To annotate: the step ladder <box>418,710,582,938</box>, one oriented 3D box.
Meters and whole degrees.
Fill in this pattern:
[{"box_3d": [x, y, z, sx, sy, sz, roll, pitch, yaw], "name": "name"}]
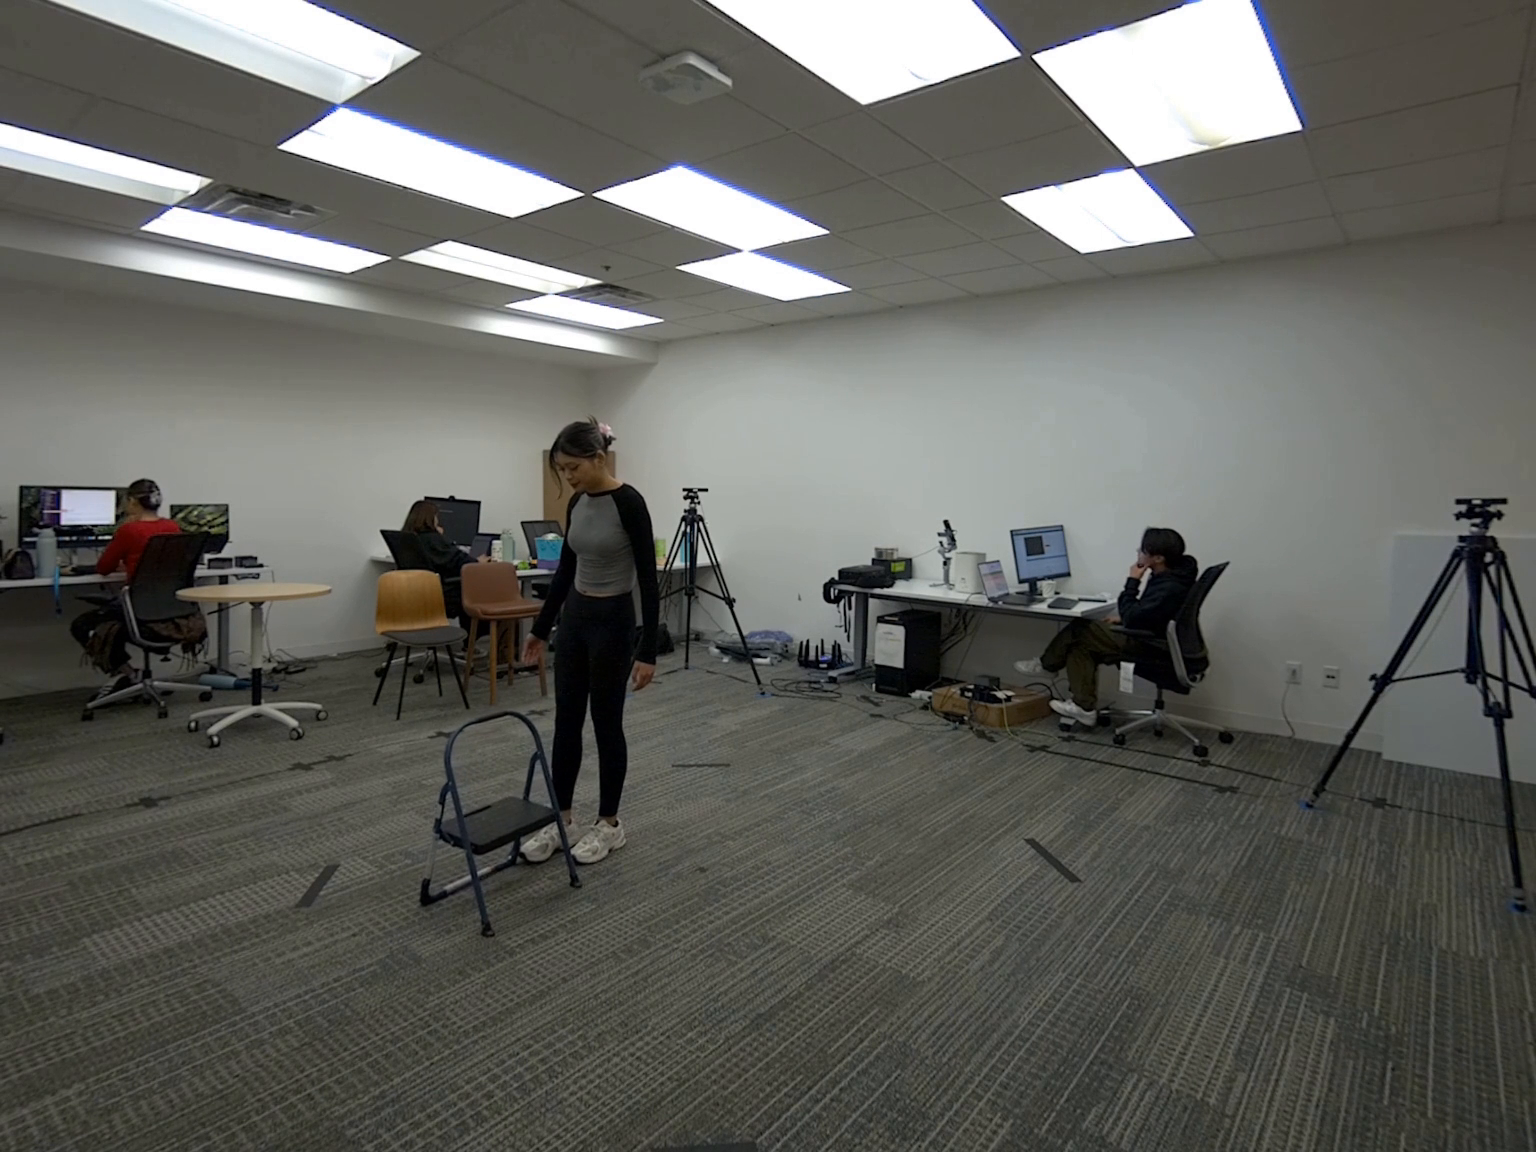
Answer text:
[{"box_3d": [-0.910, 0.780, 2.867, 0.360, 0.604, 0.419, 3, 4, 31], "name": "step ladder"}]
